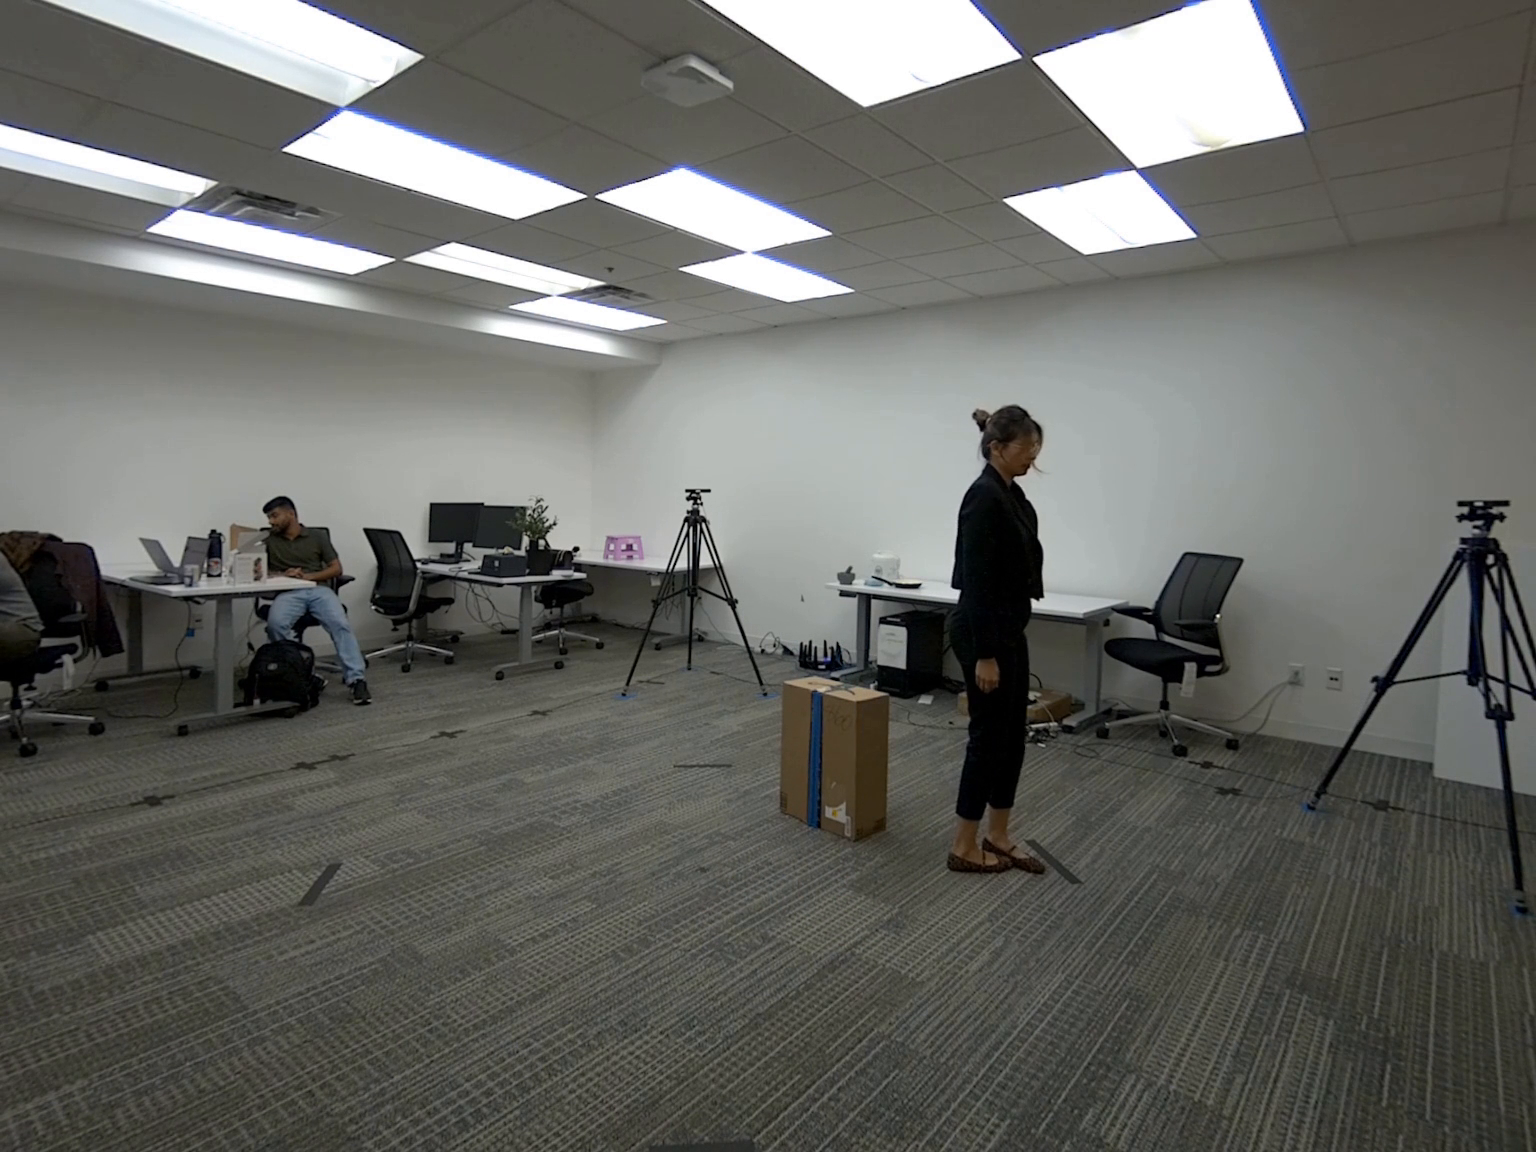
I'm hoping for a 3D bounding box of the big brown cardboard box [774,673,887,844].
[{"bbox_3d":[0.261,0.757,3.600,0.226,0.588,0.431,-1,3,-42],"label":"big brown cardboard box"}]
